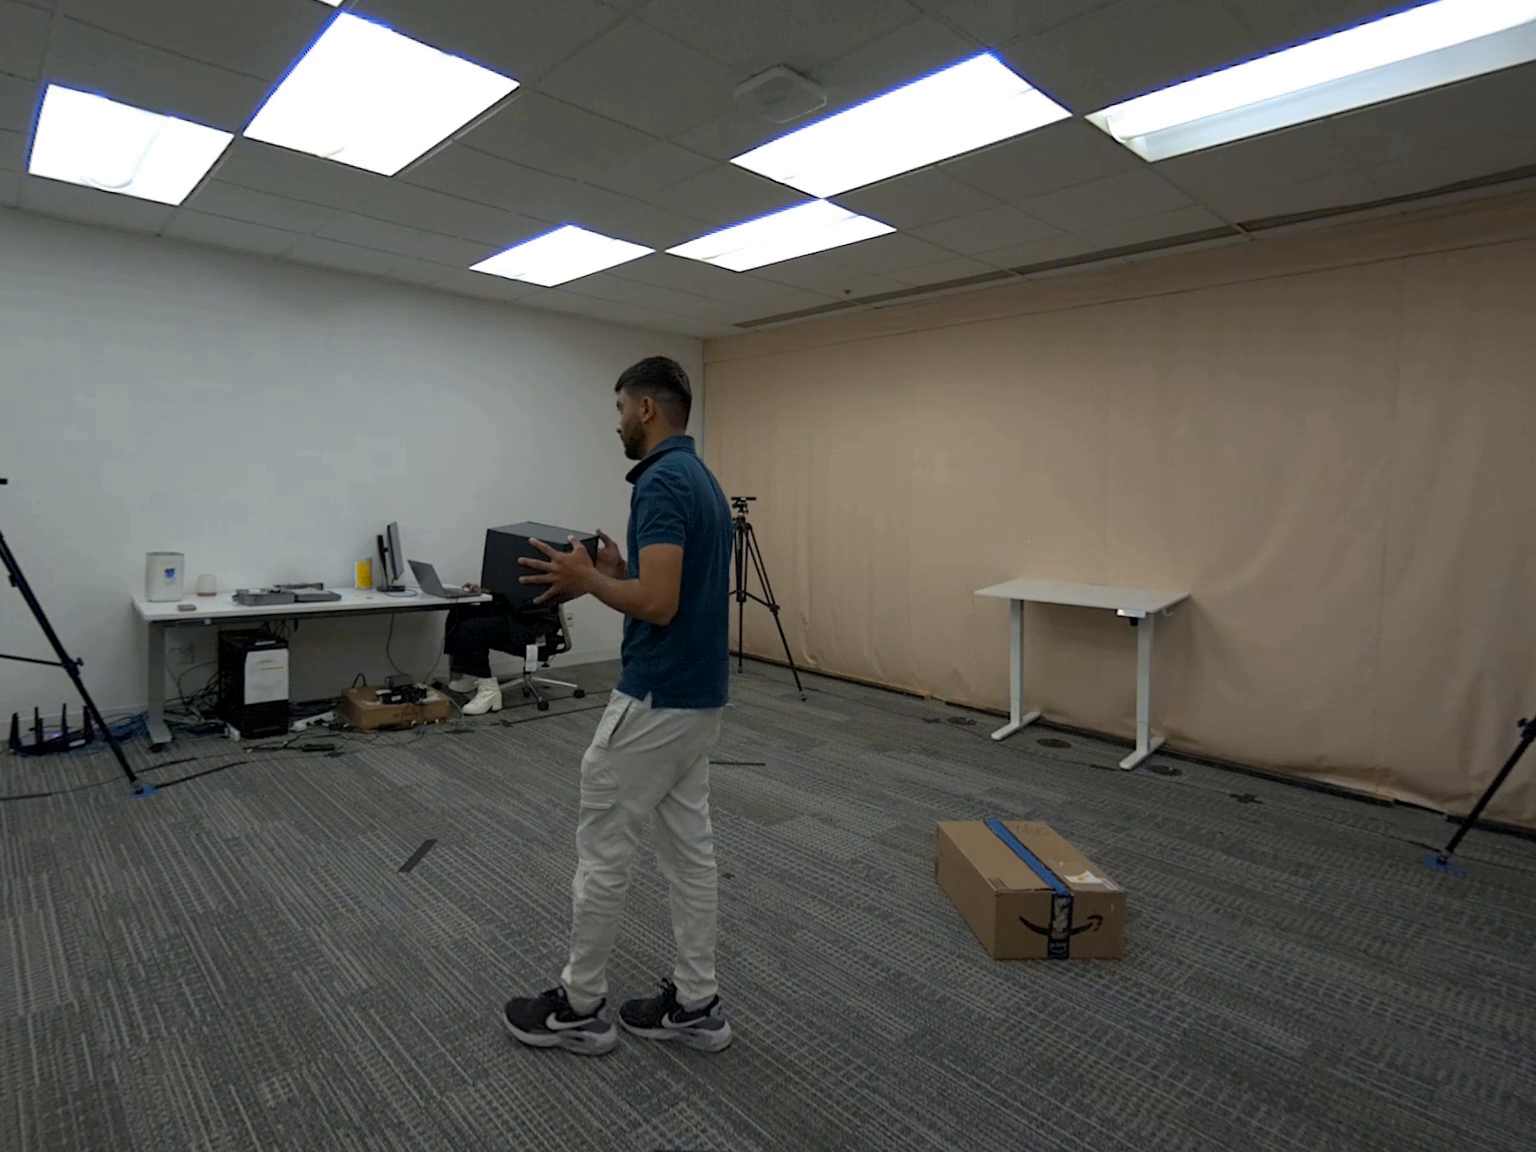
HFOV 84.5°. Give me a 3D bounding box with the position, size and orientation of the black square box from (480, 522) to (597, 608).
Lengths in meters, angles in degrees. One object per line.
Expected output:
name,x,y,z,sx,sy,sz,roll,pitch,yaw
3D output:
black square box,-0.590,-0.037,2.185,0.219,0.155,0.227,10,9,9
